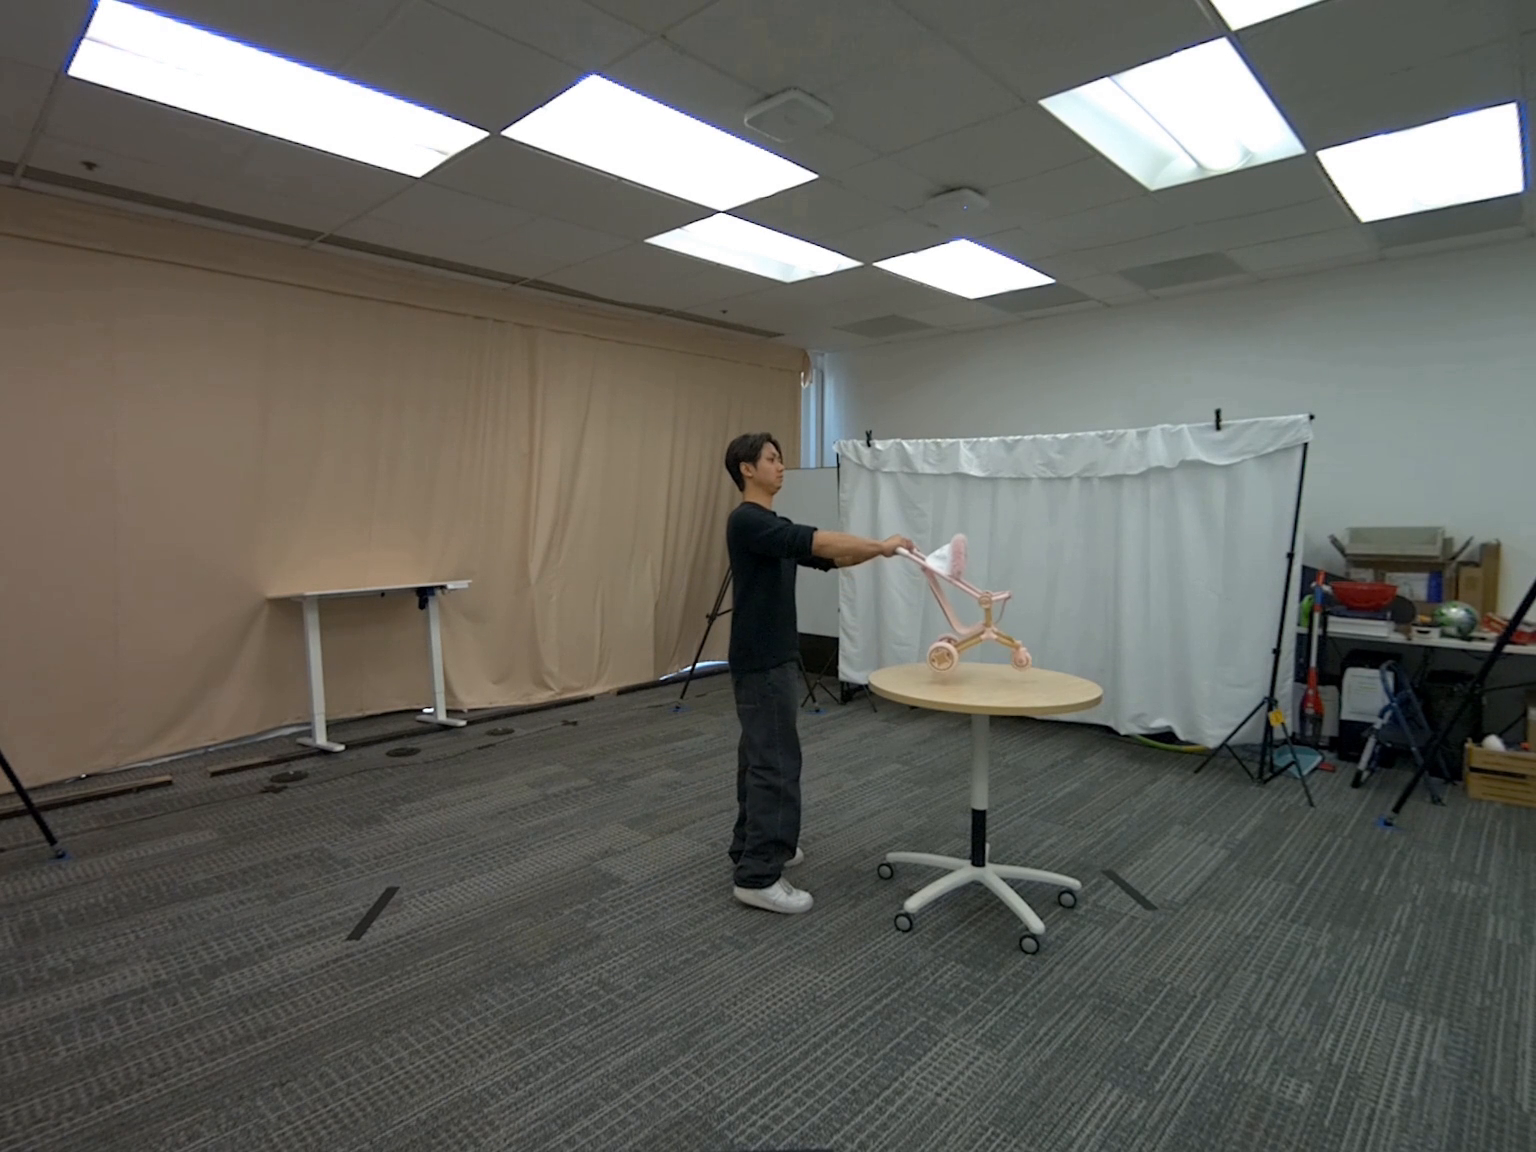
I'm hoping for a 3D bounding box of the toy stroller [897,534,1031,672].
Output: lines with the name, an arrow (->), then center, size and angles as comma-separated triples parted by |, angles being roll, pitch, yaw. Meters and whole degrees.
toy stroller -> 0.690, 0.093, 2.908 | 0.348, 0.537, 0.275 | -16, -5, 23
